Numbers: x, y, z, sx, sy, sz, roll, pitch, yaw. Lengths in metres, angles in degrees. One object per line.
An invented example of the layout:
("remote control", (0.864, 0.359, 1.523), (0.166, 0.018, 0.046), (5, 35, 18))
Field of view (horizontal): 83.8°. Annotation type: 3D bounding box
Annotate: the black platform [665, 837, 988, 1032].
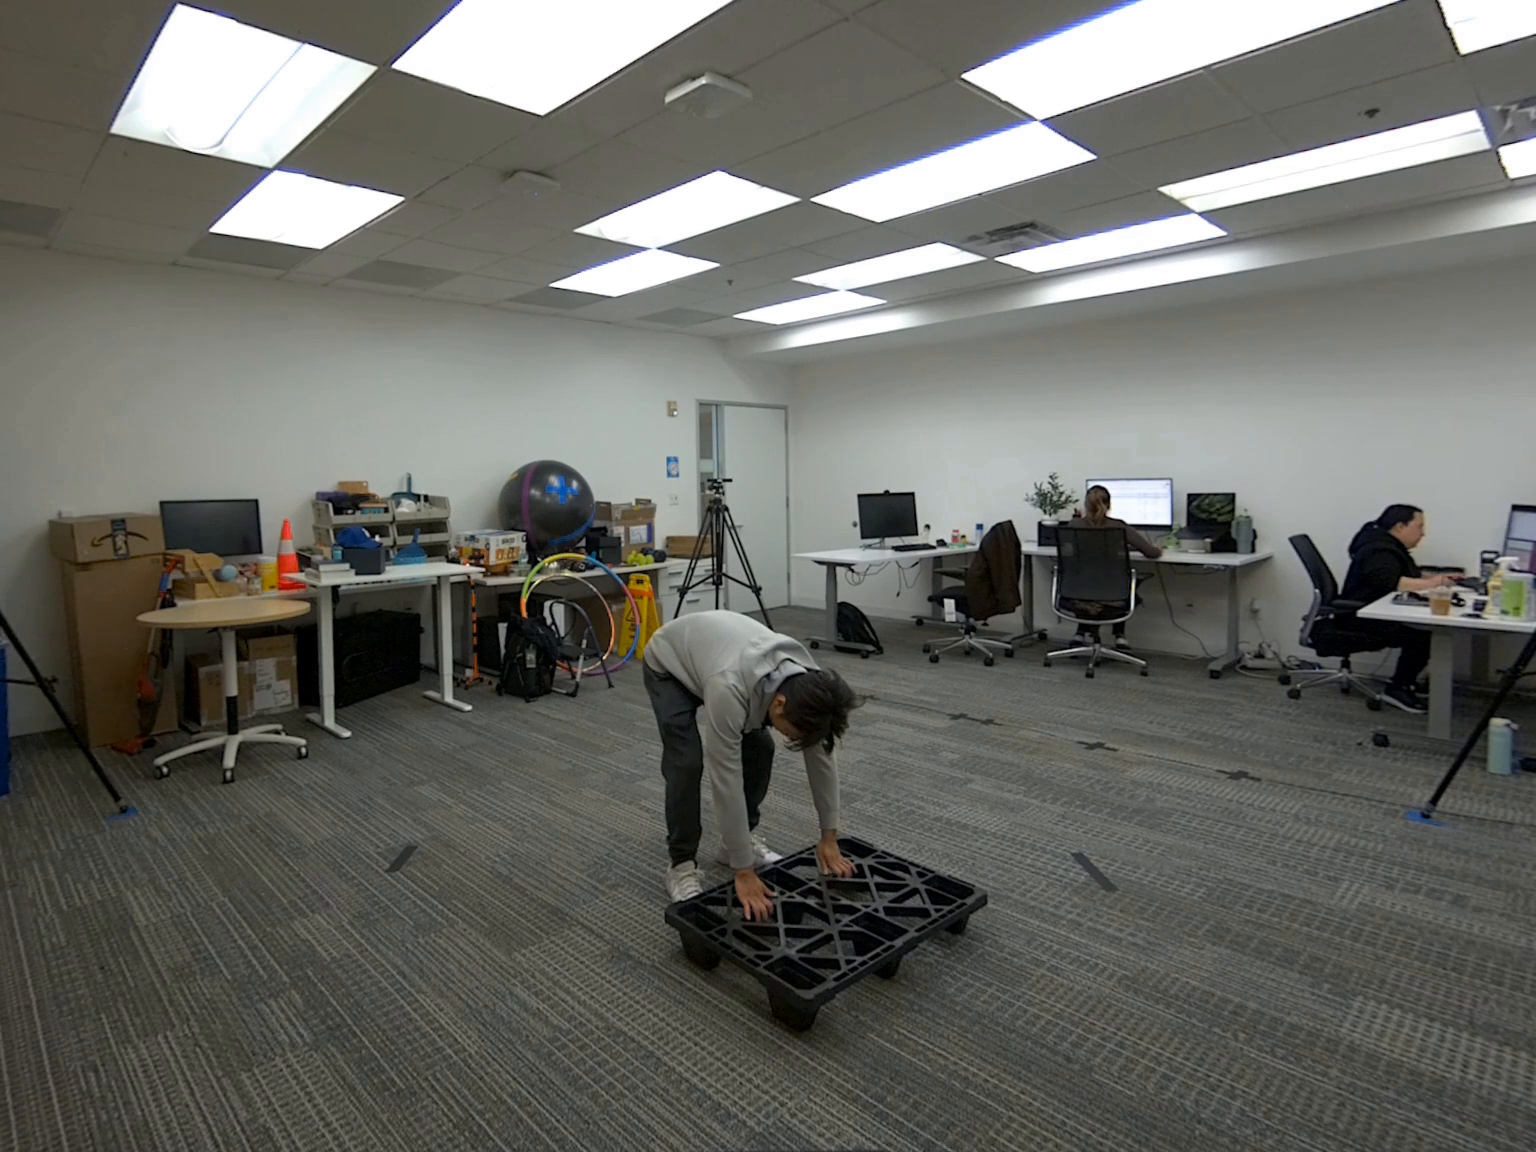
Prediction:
("black platform", (0.178, 1.037, 2.559), (0.785, 0.142, 0.624), (-7, 9, -42))
